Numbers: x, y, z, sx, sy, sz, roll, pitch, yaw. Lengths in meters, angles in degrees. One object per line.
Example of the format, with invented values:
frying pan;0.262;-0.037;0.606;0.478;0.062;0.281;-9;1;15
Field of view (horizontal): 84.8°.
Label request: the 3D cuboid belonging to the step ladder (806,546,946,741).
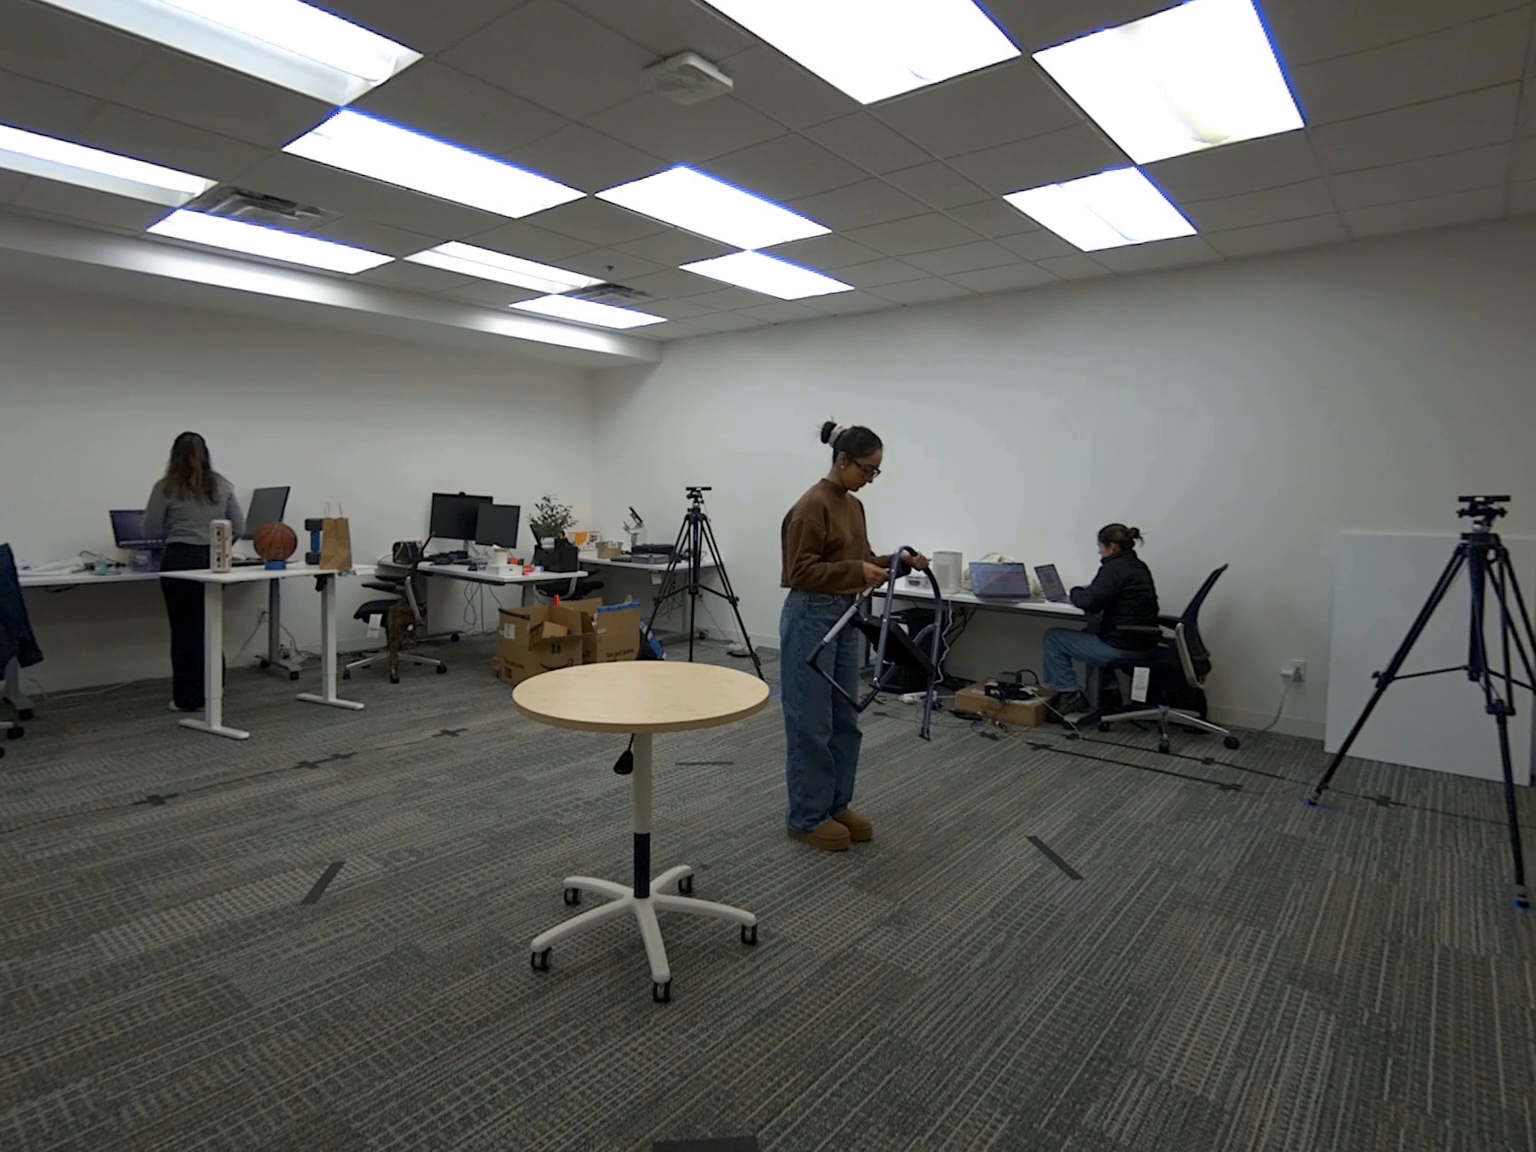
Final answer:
step ladder;0.498;0.208;3.173;0.362;0.608;0.413;11;-26;48
